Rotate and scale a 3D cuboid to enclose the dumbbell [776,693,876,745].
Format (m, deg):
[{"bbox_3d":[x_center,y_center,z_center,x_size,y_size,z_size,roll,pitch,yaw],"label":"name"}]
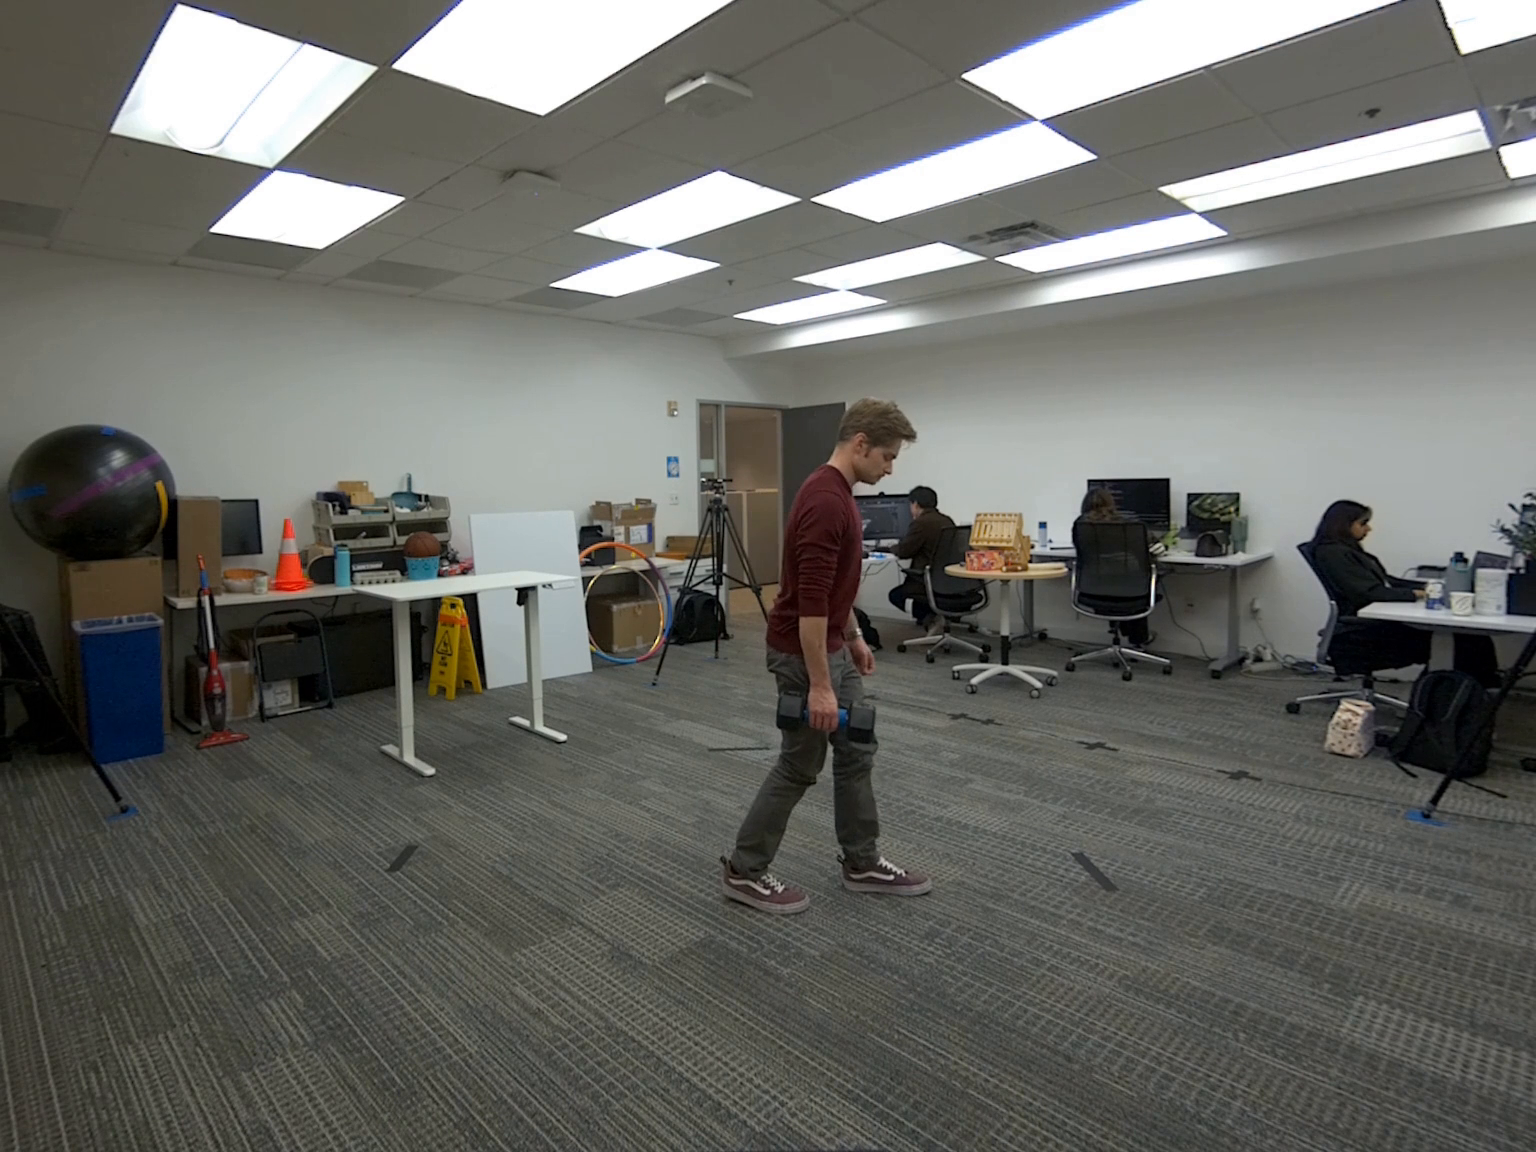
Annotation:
[{"bbox_3d":[0.176,0.427,2.585,0.297,0.125,0.106,5,-25,10],"label":"dumbbell"}]
